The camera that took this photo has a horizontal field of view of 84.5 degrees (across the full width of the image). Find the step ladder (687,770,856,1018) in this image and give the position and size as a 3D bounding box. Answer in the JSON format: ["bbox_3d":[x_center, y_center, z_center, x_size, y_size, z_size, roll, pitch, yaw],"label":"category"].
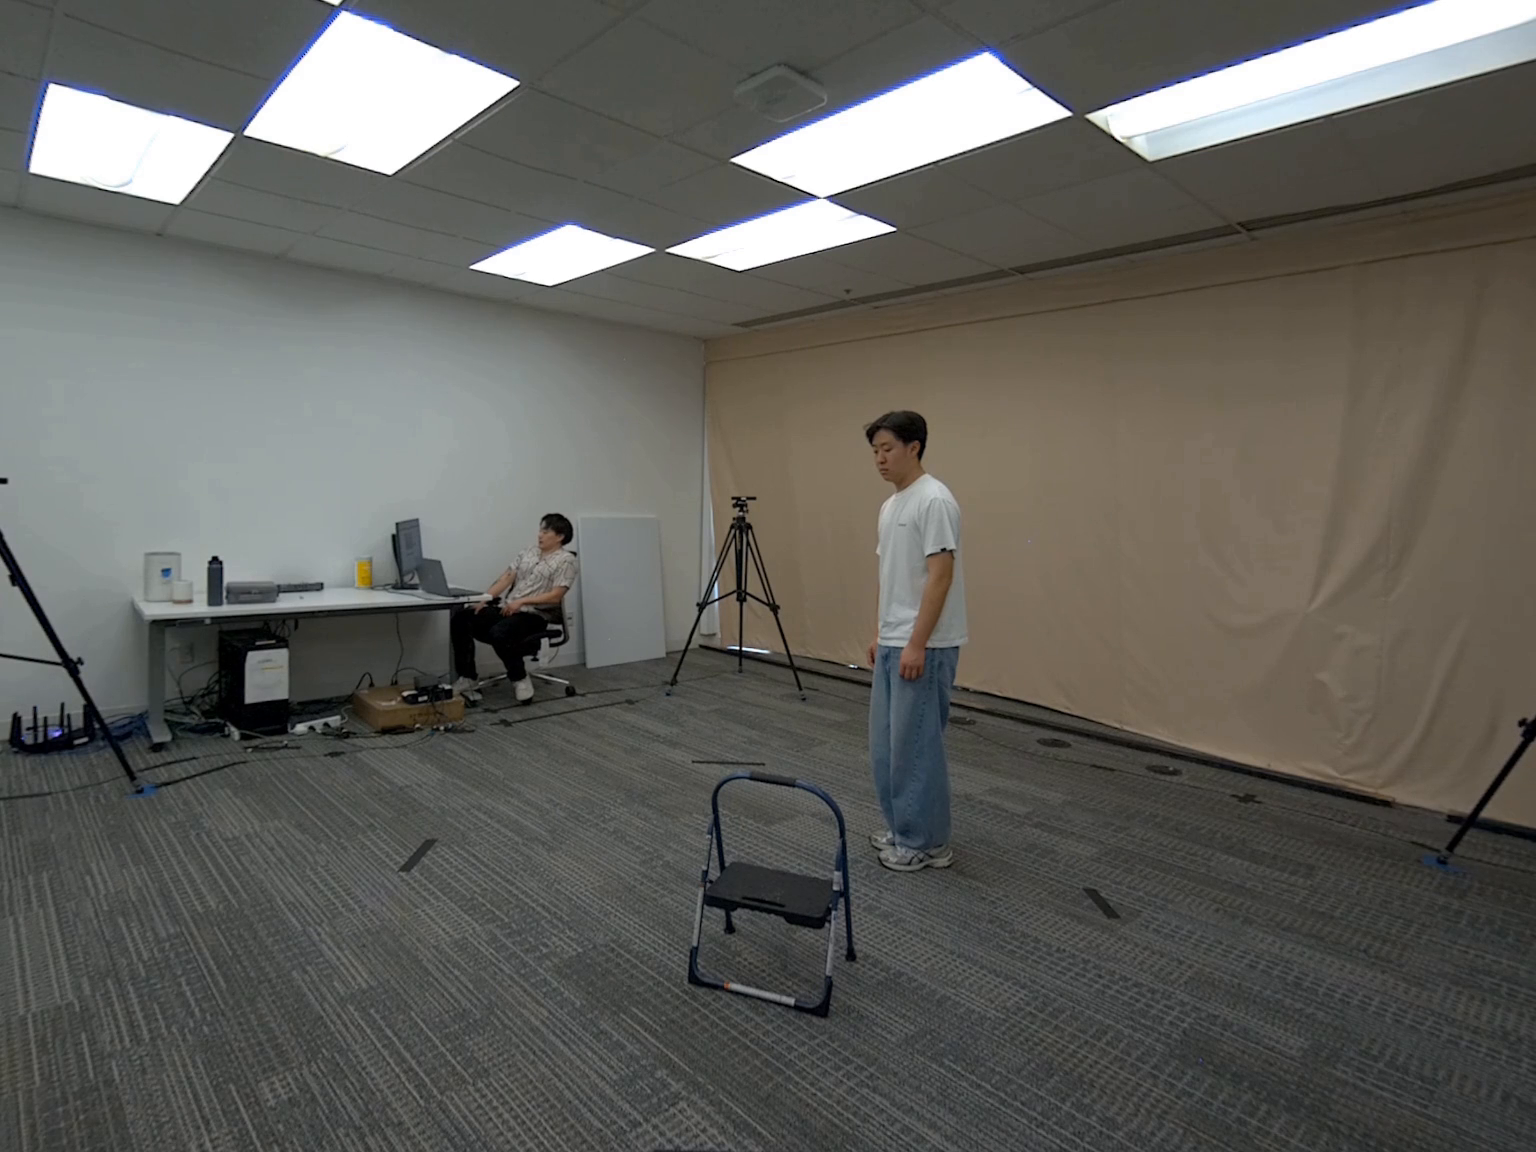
[{"bbox_3d":[0.020,0.863,2.475,0.437,0.604,0.344,3,4,19],"label":"step ladder"}]
